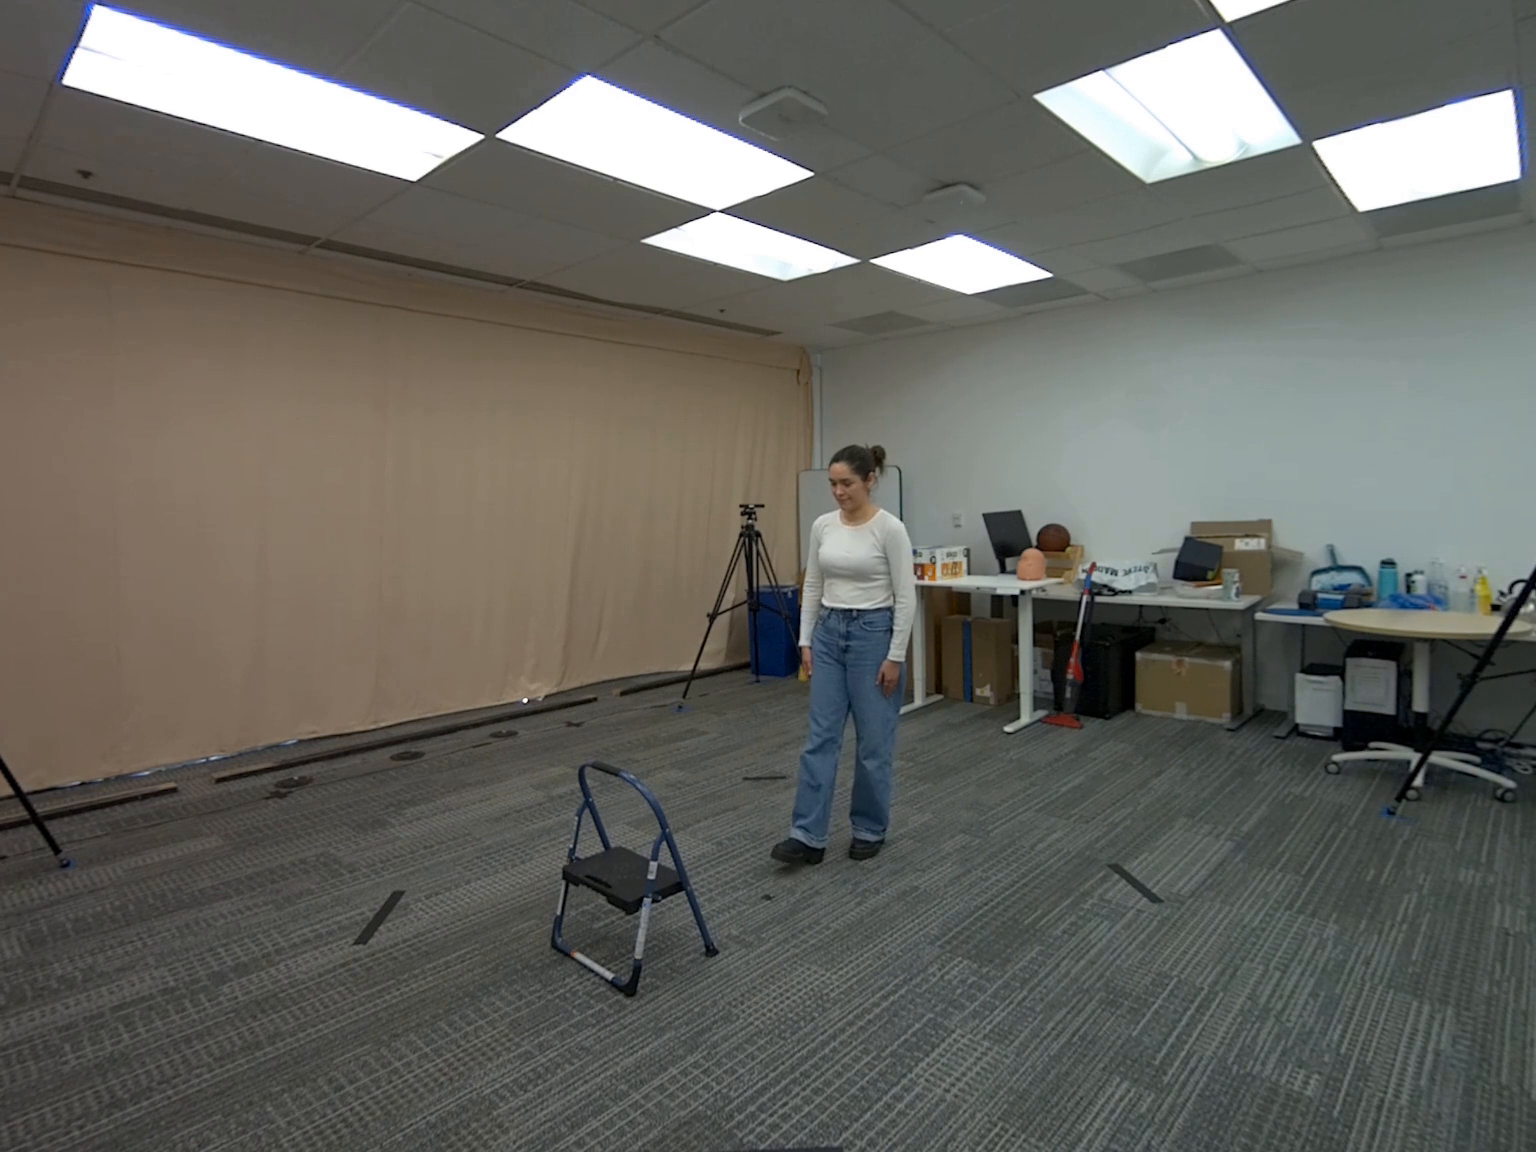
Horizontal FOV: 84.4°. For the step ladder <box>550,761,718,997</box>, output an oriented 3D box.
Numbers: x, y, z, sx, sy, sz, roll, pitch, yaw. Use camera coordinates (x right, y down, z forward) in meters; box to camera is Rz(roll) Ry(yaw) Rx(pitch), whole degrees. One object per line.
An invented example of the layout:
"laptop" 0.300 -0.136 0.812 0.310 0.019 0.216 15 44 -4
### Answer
"step ladder" -0.430 0.877 2.635 0.445 0.605 0.339 2 4 43
